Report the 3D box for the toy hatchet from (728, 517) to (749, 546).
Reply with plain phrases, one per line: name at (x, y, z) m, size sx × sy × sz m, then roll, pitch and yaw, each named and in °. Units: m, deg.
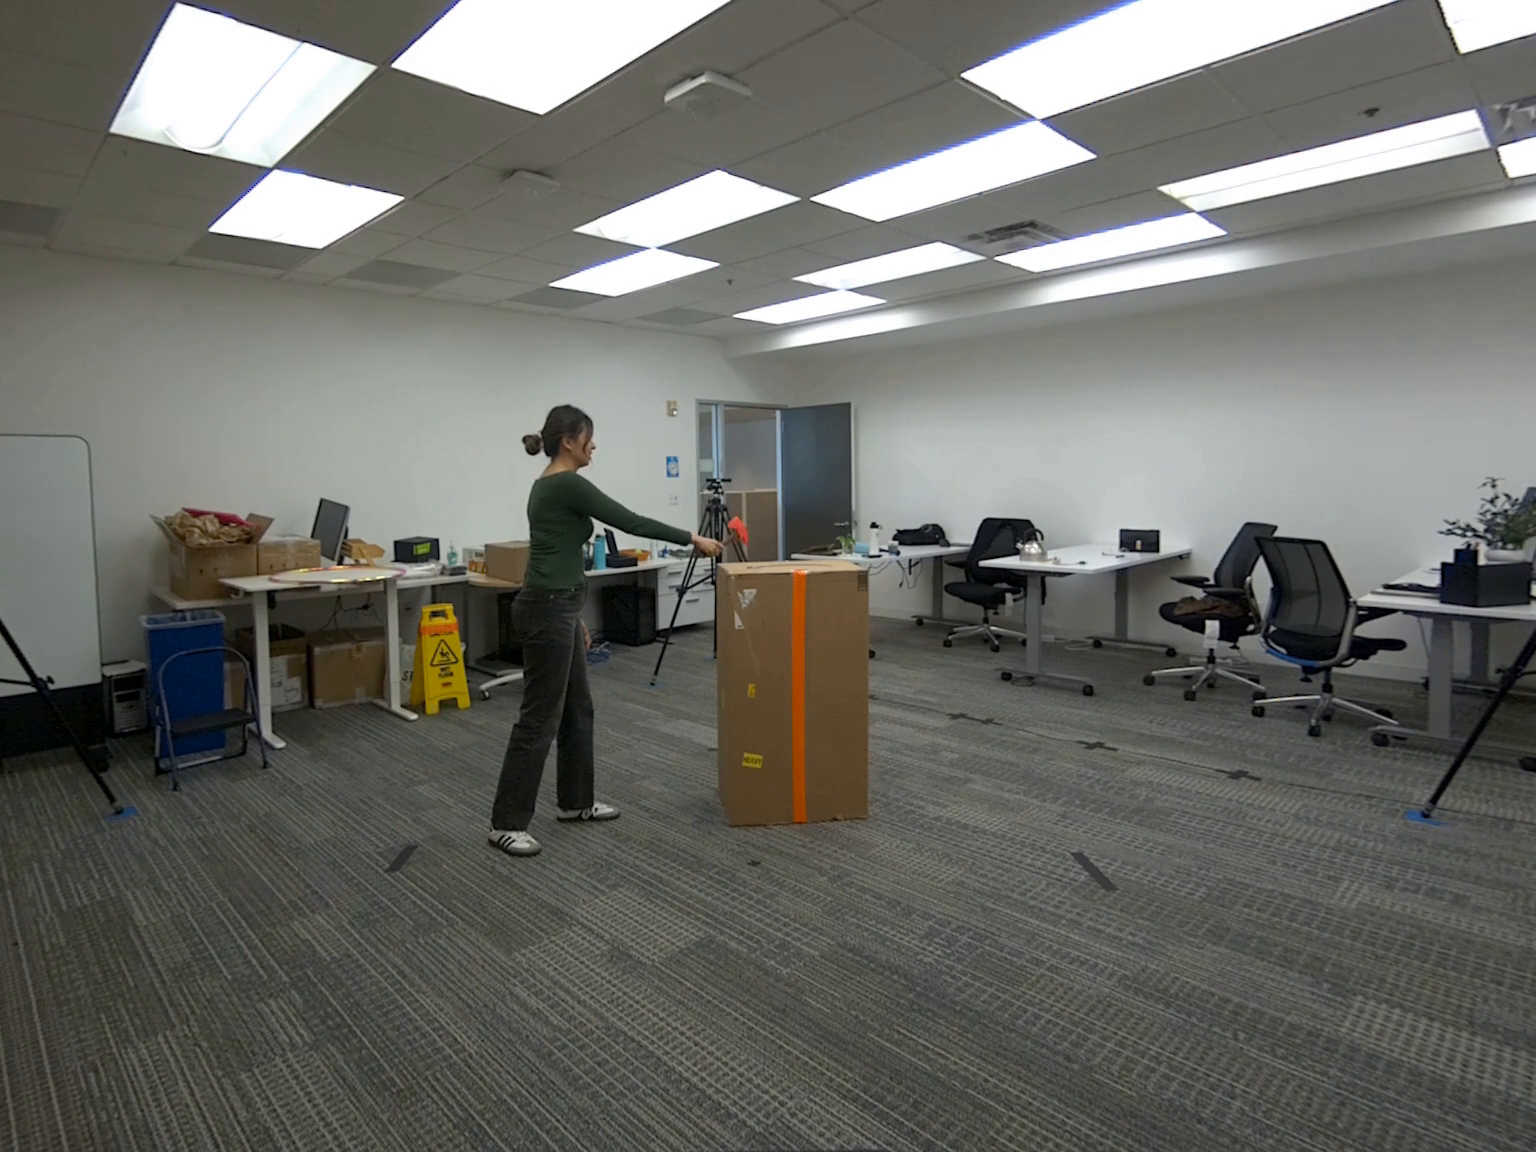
toy hatchet at (-0.214, -0.188, 3.520) m, size 0.264 × 0.130 × 0.030 m, roll -5°, pitch 6°, yaw -31°
